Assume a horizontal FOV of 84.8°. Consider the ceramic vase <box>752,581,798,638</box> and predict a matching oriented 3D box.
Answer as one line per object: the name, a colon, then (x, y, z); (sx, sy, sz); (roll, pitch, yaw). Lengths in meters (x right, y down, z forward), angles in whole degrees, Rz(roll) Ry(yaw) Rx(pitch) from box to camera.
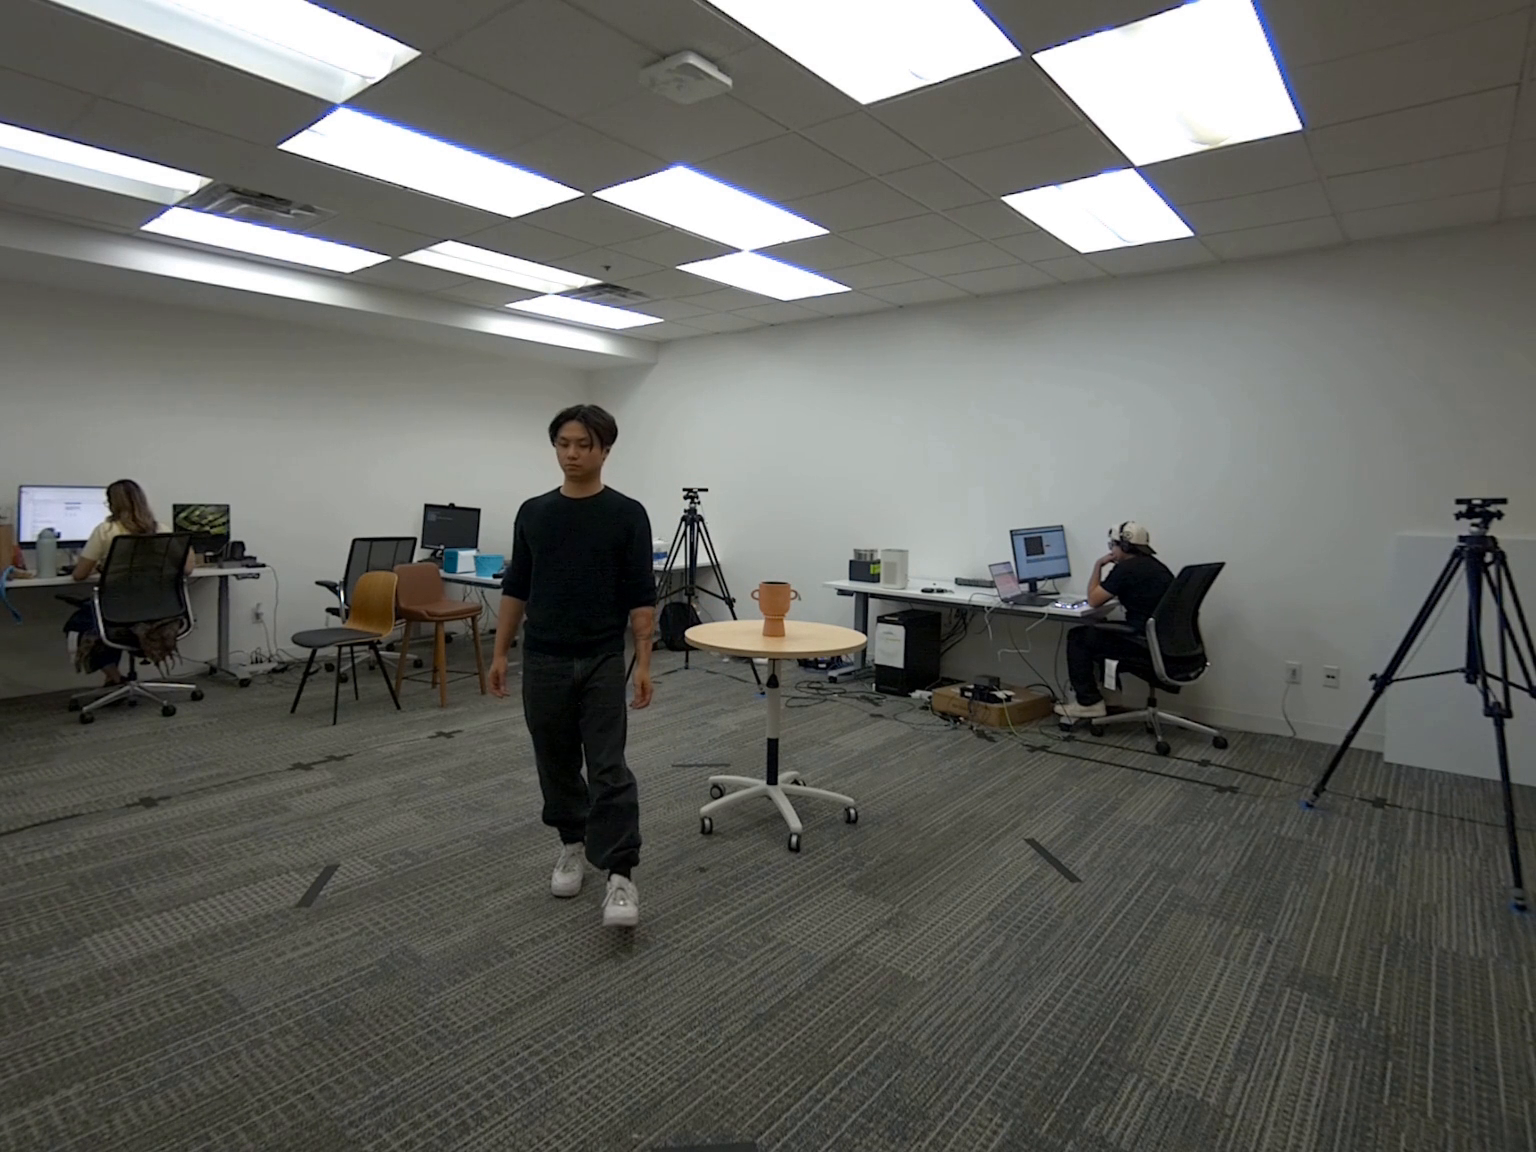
ceramic vase: (0.021, 0.137, 3.575); (0.164, 0.219, 0.131); (4, 6, 33)
